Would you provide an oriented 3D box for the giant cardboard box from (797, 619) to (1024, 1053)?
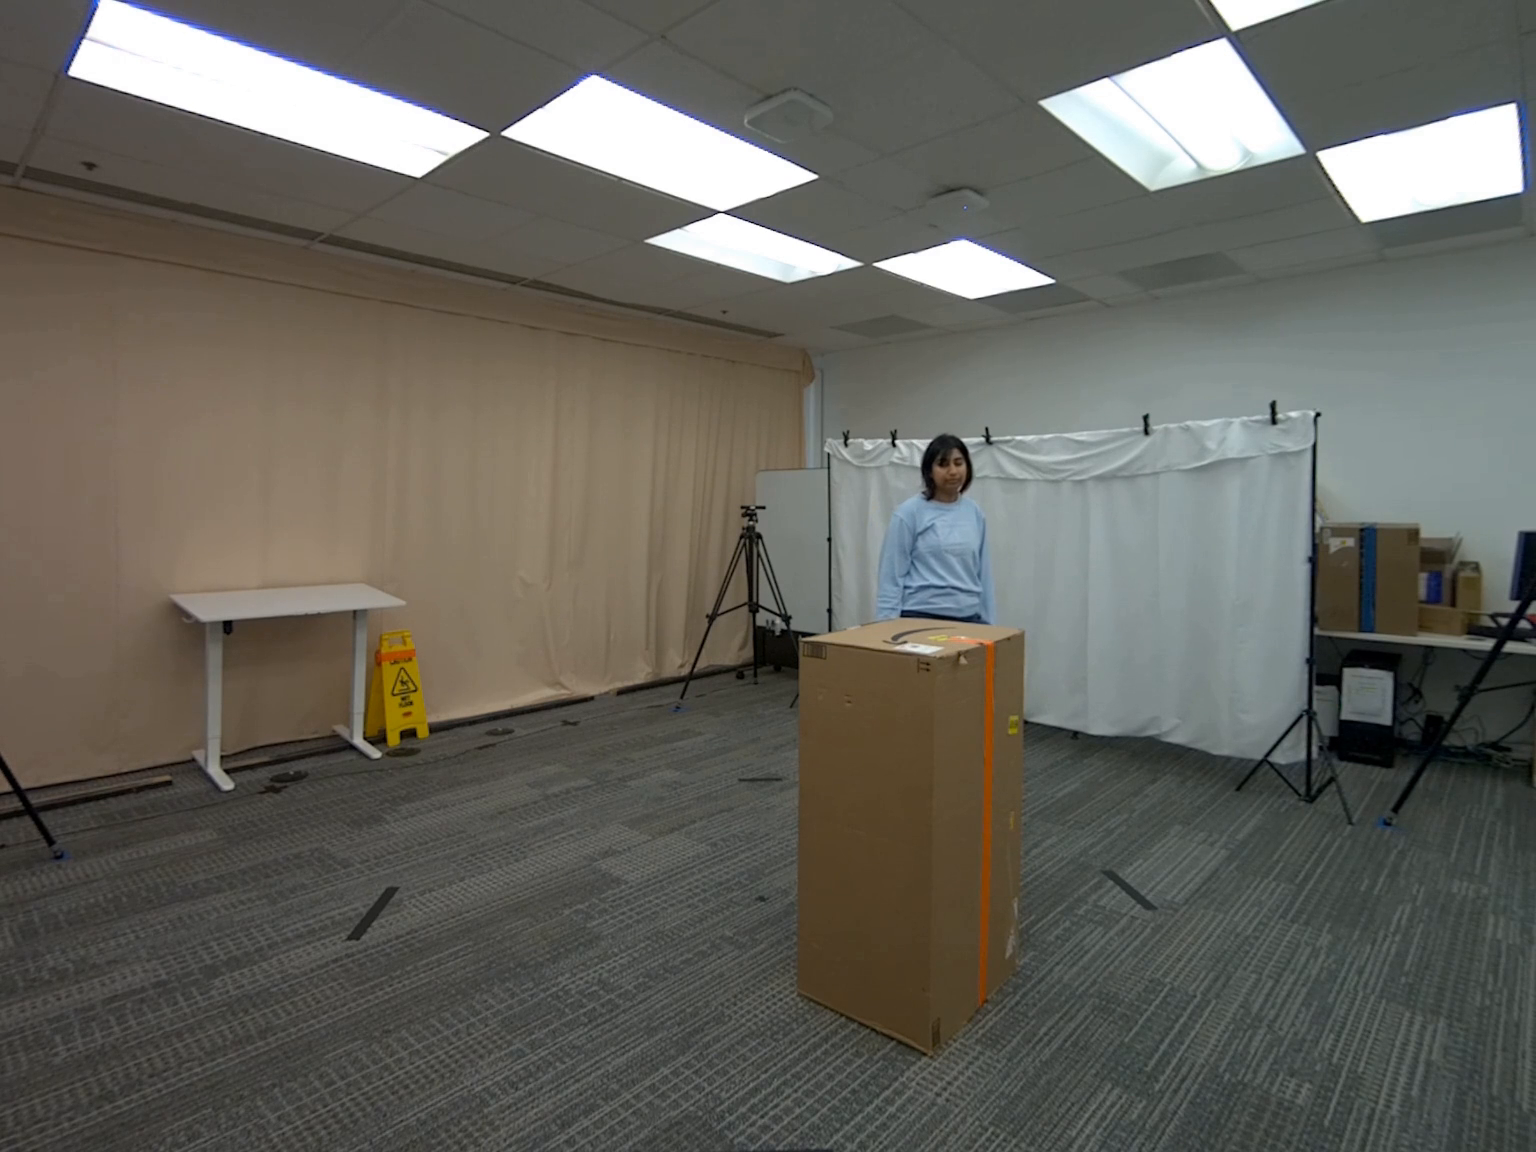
[{"bbox_3d":[0.428,0.681,2.447,0.440,1.024,0.560,3,4,40],"label":"giant cardboard box"}]
